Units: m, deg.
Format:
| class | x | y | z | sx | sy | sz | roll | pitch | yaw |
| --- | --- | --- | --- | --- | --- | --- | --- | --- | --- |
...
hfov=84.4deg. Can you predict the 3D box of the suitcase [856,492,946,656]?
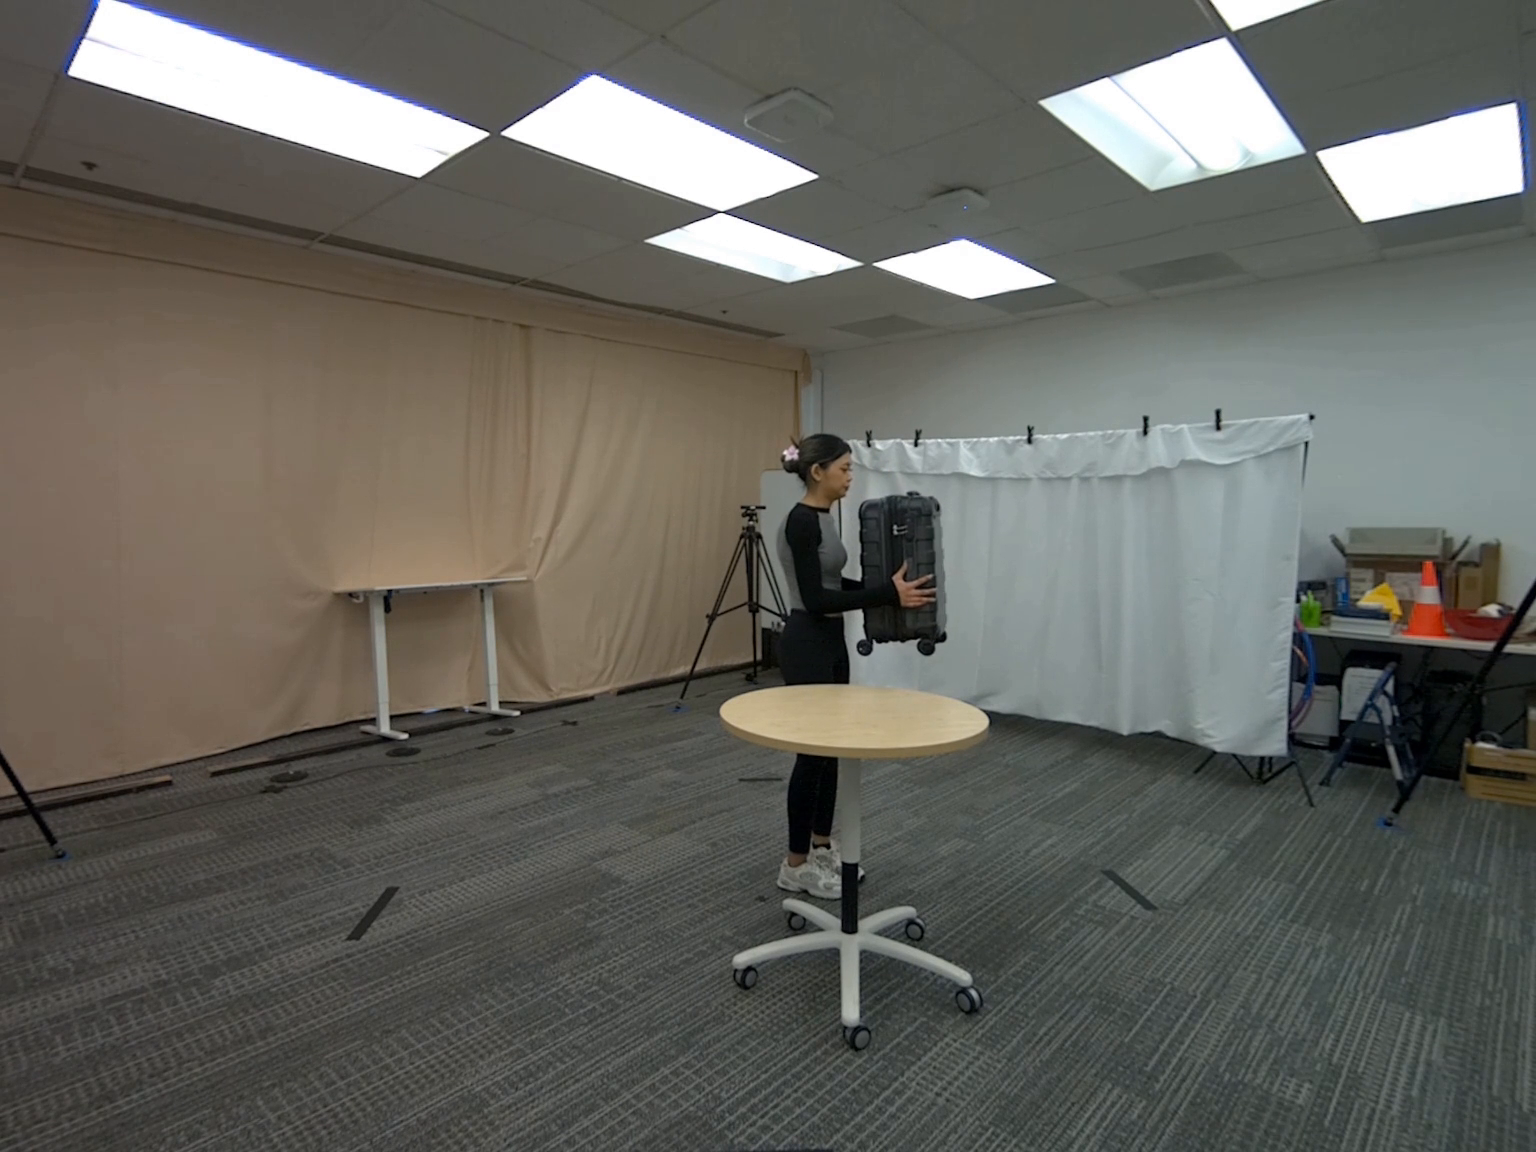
| class | x | y | z | sx | sy | sz | roll | pitch | yaw |
| --- | --- | --- | --- | --- | --- | --- | --- | --- | --- |
| suitcase | 0.482 | -0.019 | 2.974 | 0.254 | 0.549 | 0.368 | -2 | 2 | 20 |
